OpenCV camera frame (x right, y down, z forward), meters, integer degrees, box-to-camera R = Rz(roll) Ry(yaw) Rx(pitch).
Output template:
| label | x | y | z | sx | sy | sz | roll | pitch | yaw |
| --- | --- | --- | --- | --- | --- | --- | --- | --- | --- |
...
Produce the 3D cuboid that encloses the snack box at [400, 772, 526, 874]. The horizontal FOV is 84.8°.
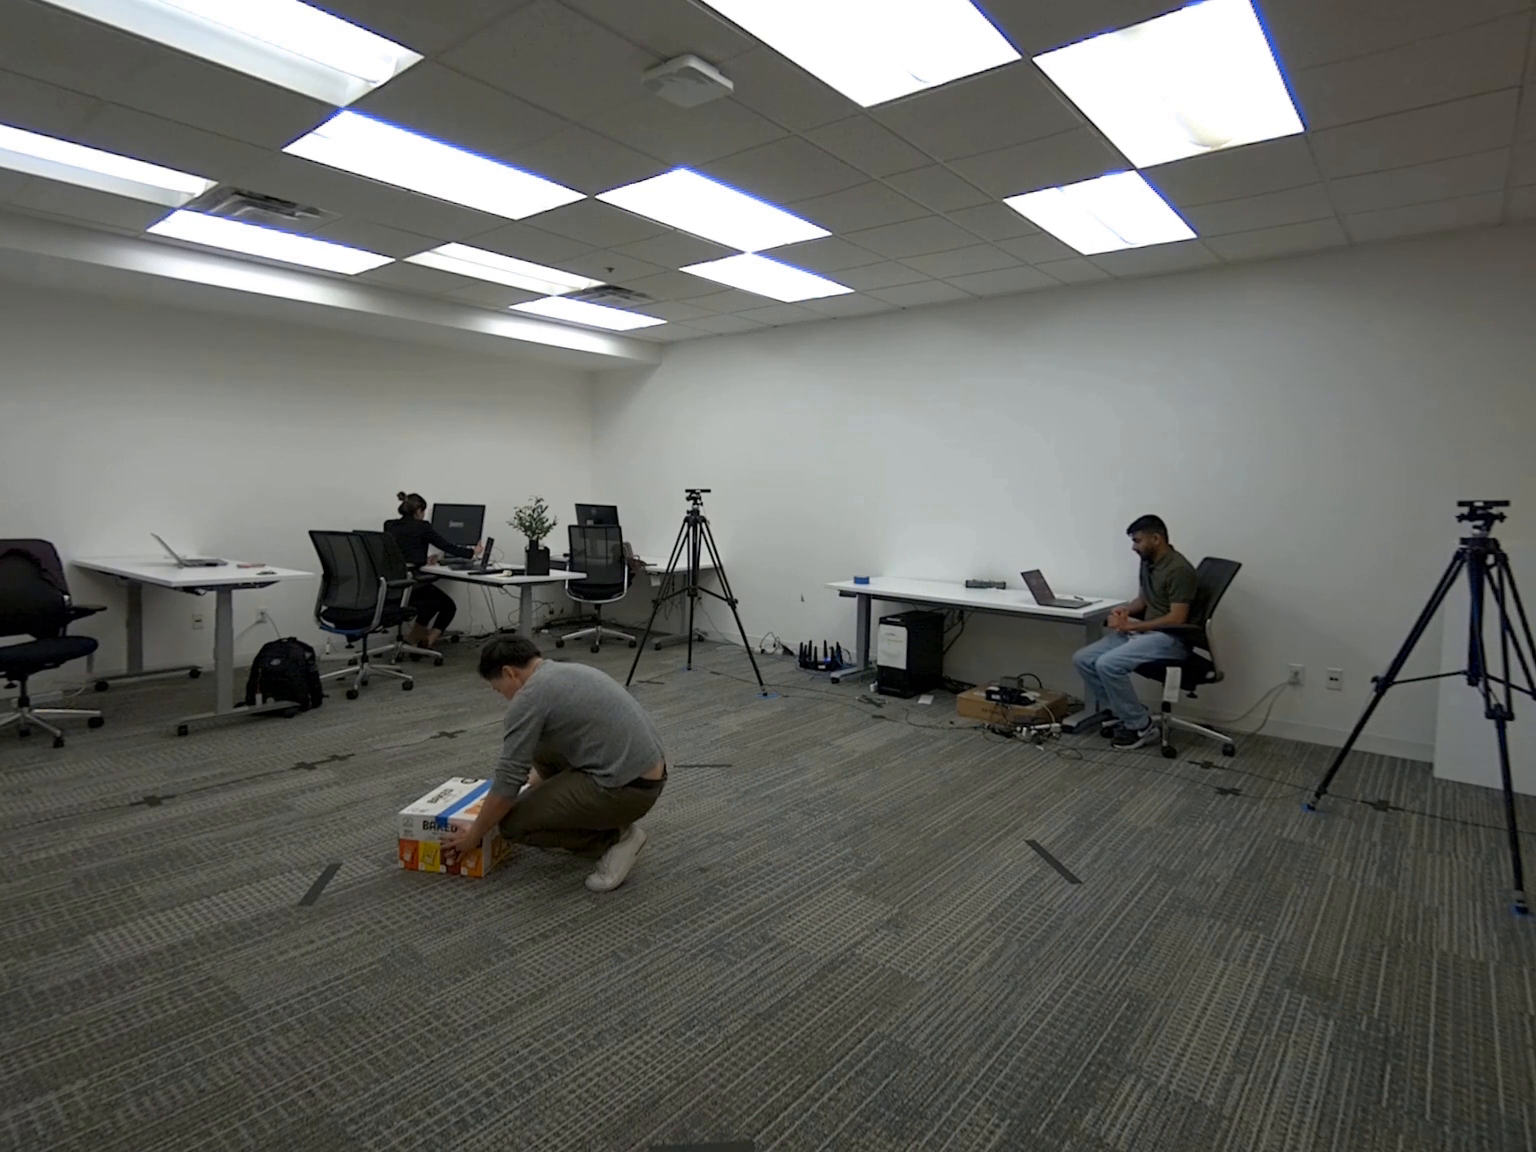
| label | x | y | z | sx | sy | sz | roll | pitch | yaw |
| --- | --- | --- | --- | --- | --- | --- | --- | --- | --- |
| snack box | -1.148 | 0.937 | 3.240 | 0.344 | 0.205 | 0.402 | 2 | 5 | 10 |
